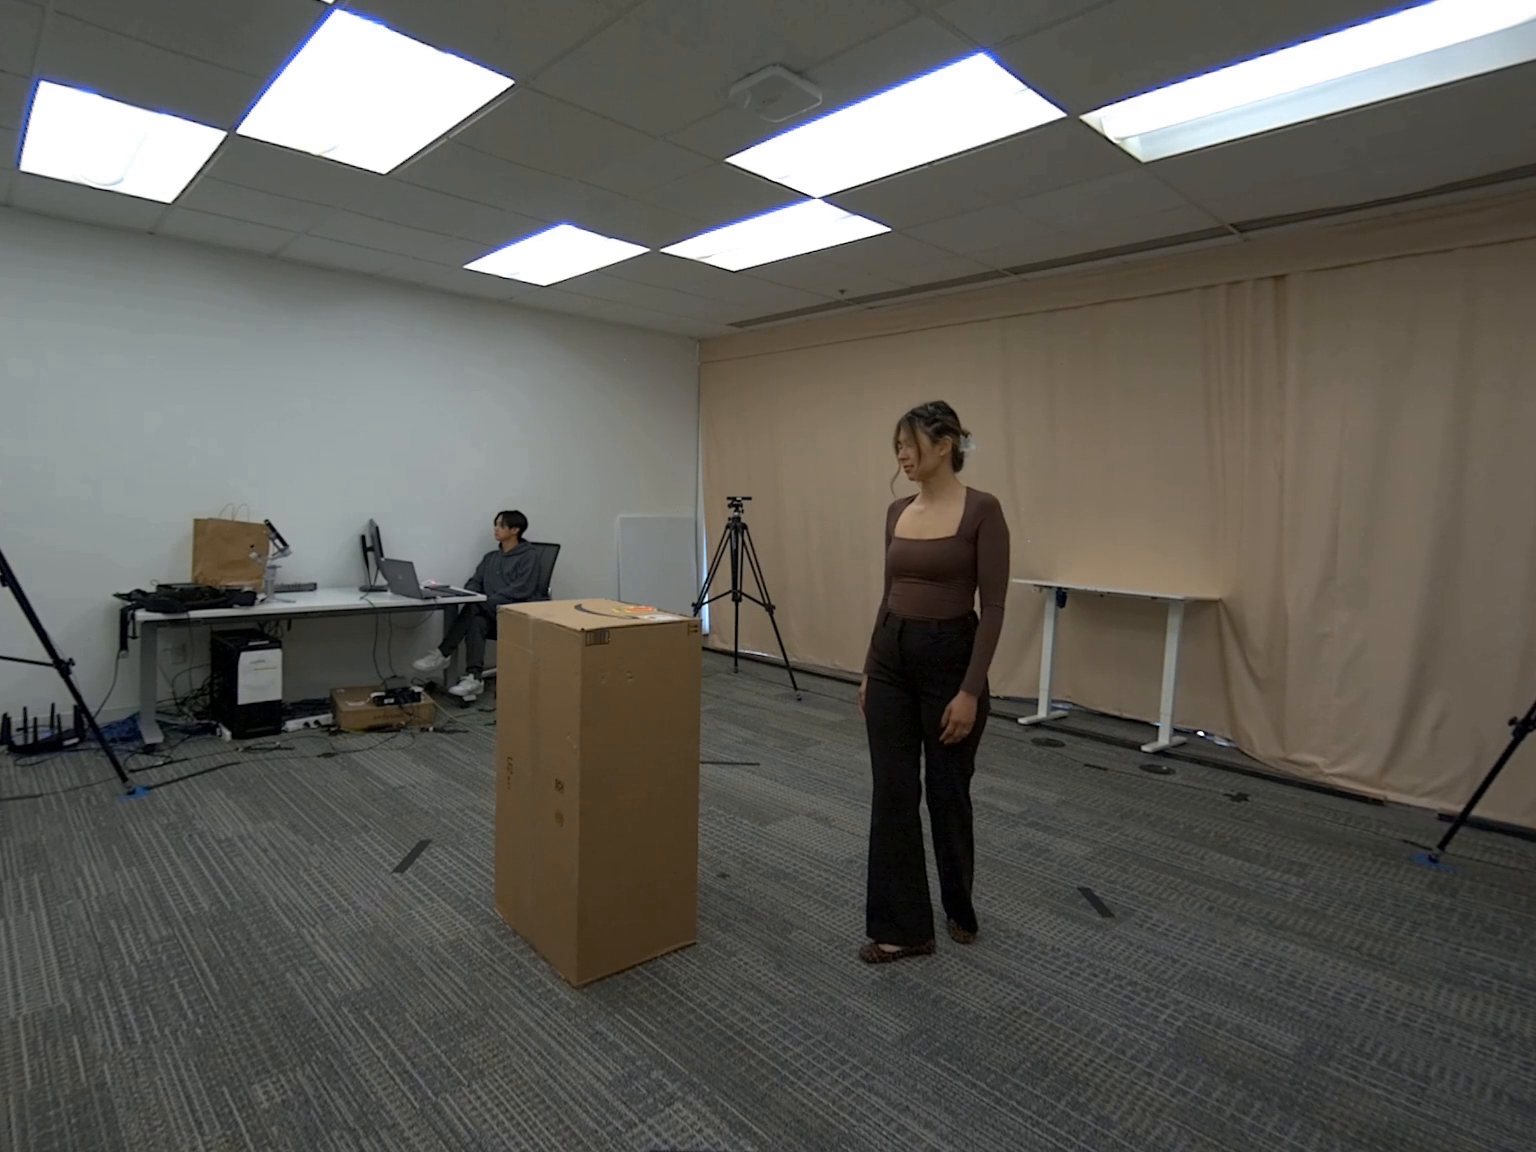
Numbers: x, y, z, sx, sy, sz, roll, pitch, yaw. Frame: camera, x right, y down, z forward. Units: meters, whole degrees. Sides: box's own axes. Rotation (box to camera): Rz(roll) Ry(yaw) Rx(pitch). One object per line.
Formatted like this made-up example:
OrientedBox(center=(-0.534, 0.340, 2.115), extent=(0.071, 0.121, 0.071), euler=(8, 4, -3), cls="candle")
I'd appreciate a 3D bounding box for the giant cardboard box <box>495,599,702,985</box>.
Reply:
OrientedBox(center=(-0.562, 0.623, 2.697), extent=(0.436, 1.025, 0.598), euler=(0, 3, -38), cls="giant cardboard box")
